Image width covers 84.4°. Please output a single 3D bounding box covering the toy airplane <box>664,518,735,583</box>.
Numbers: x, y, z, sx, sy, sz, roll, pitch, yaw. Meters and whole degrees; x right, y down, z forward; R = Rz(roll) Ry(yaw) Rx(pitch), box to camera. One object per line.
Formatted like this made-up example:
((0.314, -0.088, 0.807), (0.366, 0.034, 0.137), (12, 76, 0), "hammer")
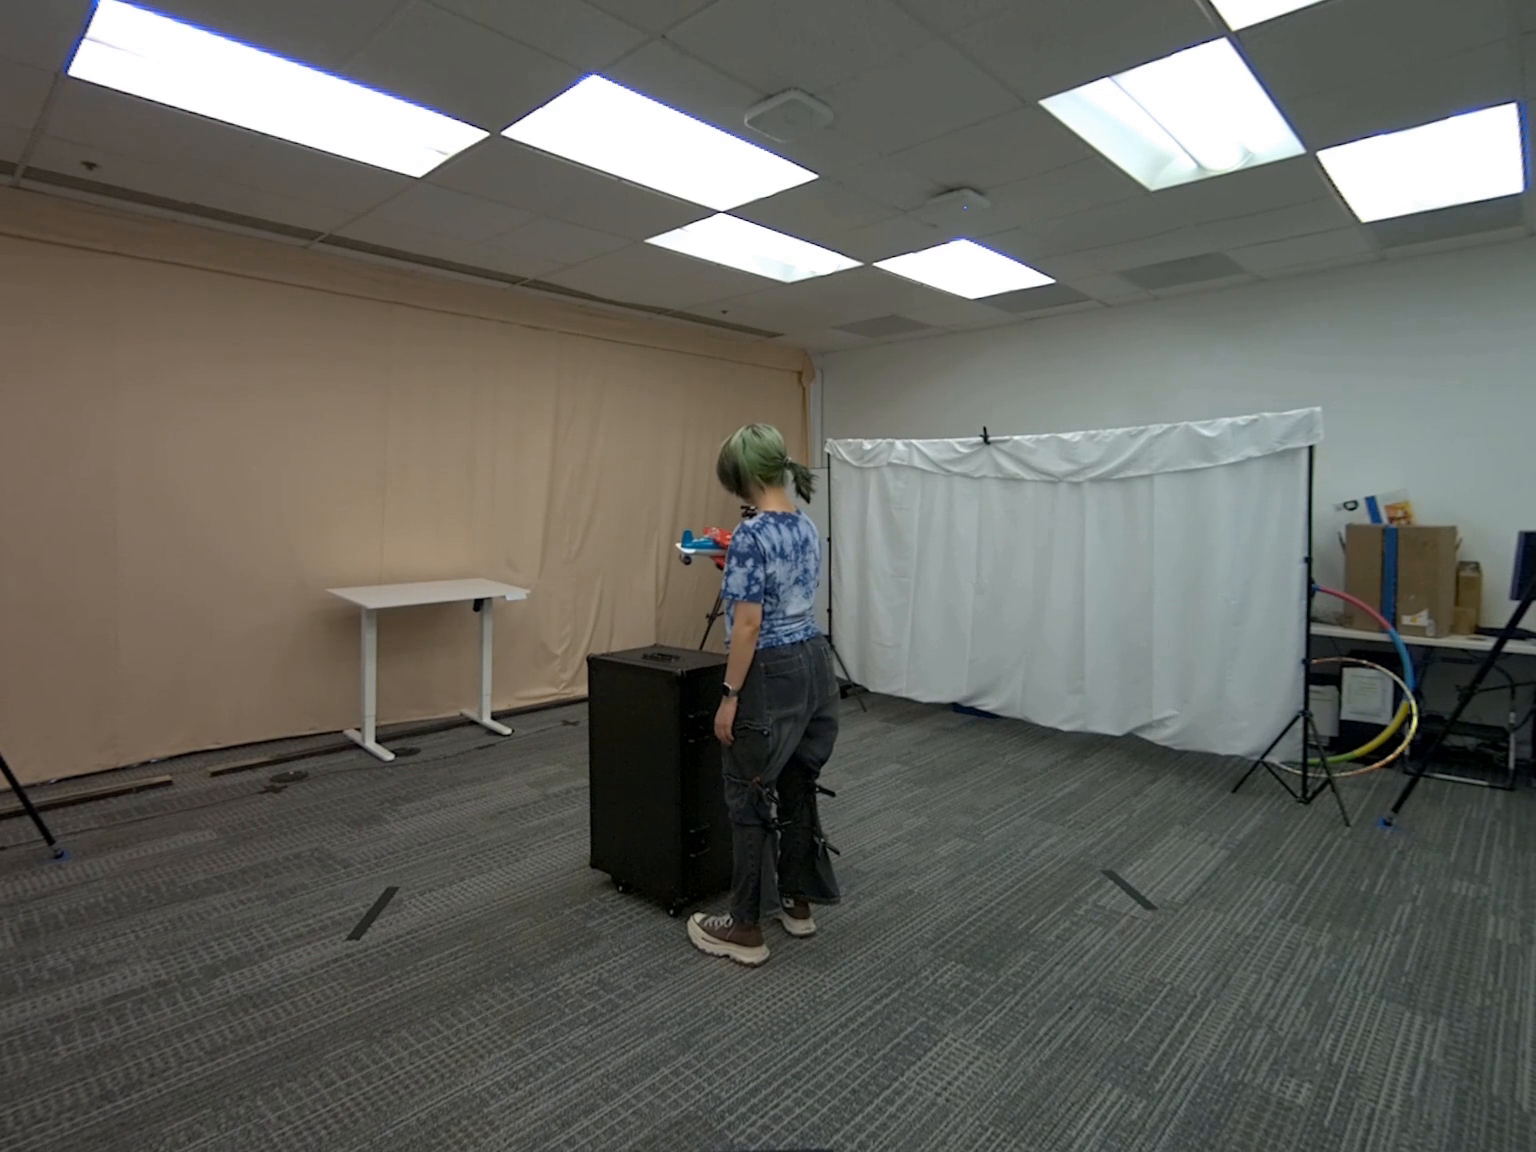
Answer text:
((-0.198, -0.094, 3.200), (0.260, 0.156, 0.251), (26, 12, 34), "toy airplane")
